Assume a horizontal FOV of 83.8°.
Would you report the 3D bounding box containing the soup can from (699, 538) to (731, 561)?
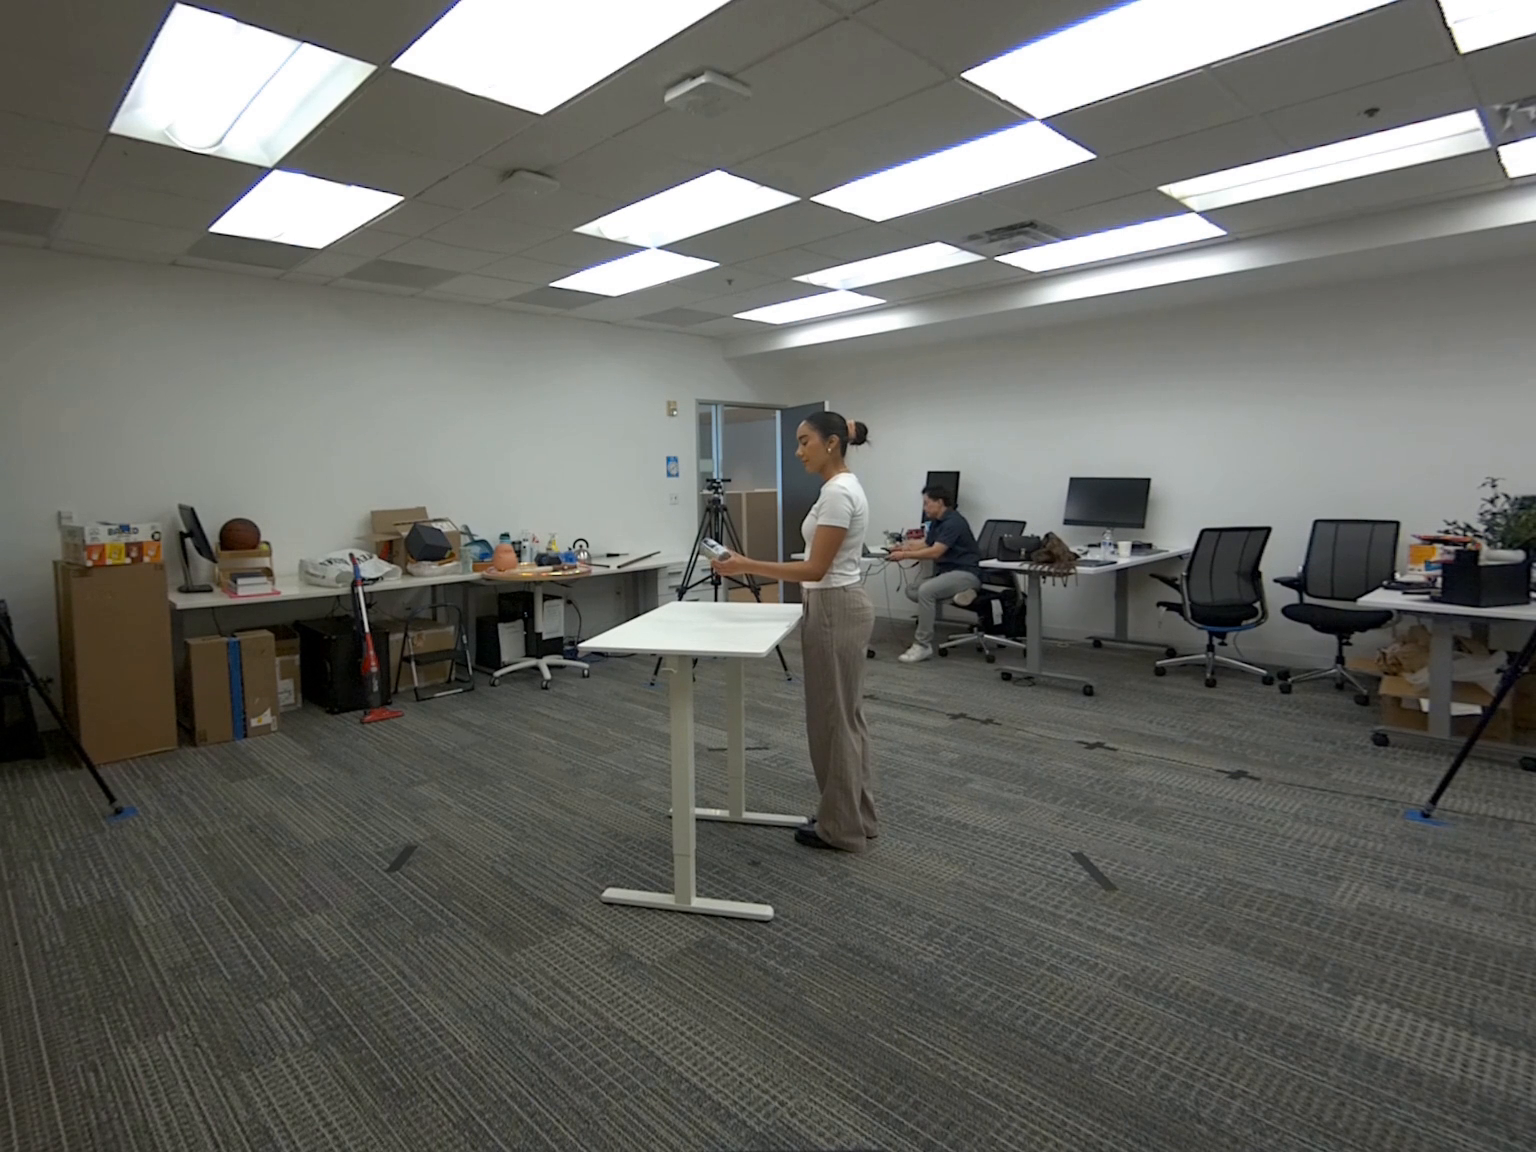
[{"bbox_3d":[-0.189,-0.087,3.100,0.126,0.066,0.065,34,22,29],"label":"soup can"}]
